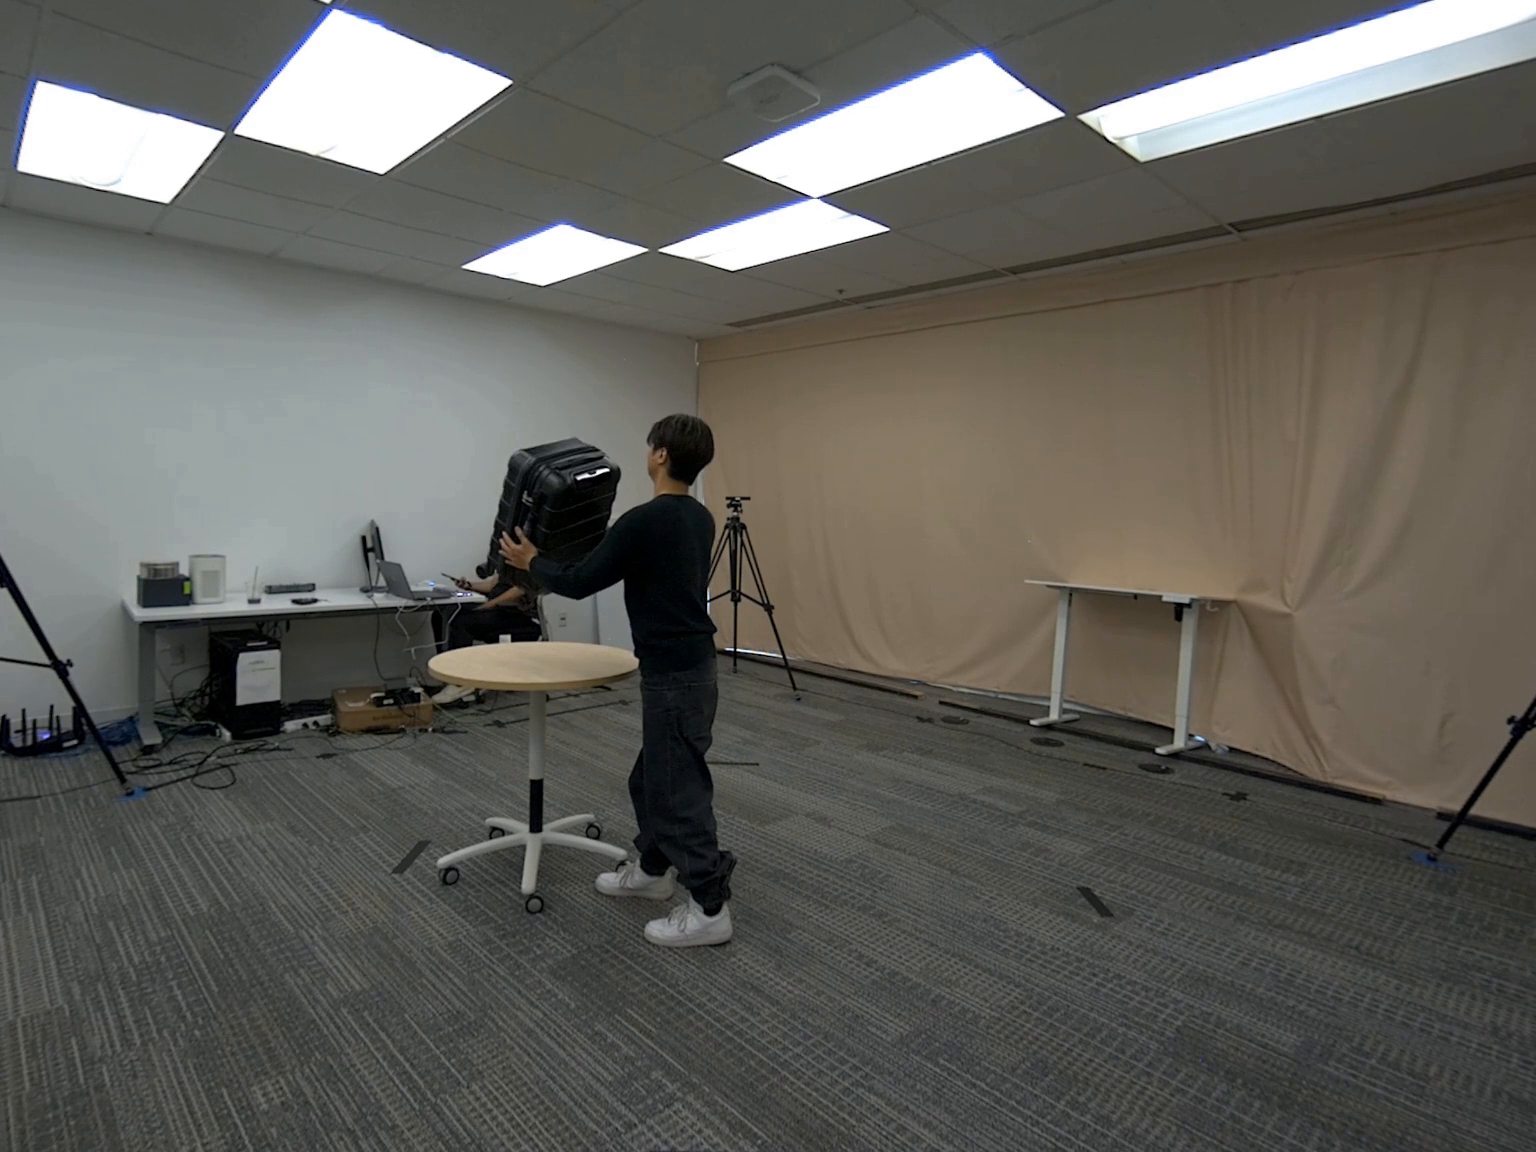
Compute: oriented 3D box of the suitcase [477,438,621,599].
[{"bbox_3d":[-0.750,-0.195,2.942,0.254,0.543,0.371,34,33,20],"label":"suitcase"}]
